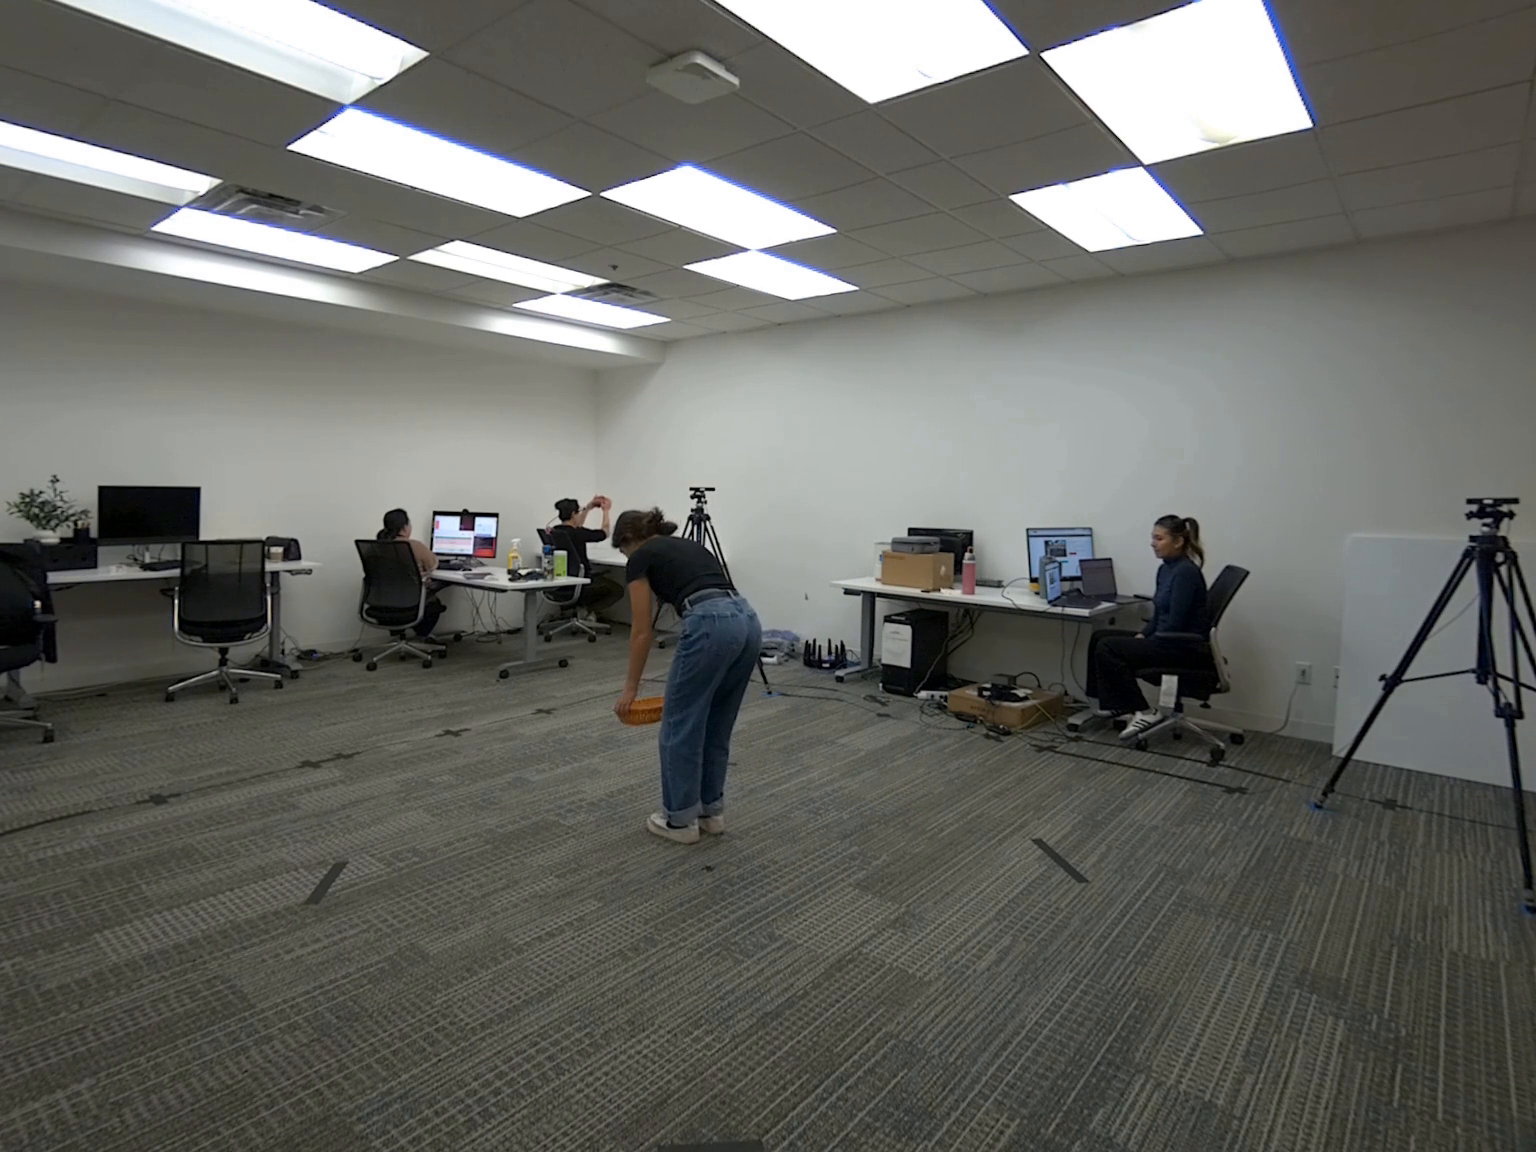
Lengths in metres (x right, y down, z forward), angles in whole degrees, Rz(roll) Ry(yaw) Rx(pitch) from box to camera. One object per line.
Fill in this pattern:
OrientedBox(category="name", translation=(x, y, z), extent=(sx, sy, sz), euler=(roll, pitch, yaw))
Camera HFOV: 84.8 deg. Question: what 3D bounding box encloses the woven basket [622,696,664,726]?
OrientedBox(category="woven basket", translation=(-0.520, 0.561, 3.604), extent=(0.340, 0.073, 0.260), euler=(-4, 3, -42))
